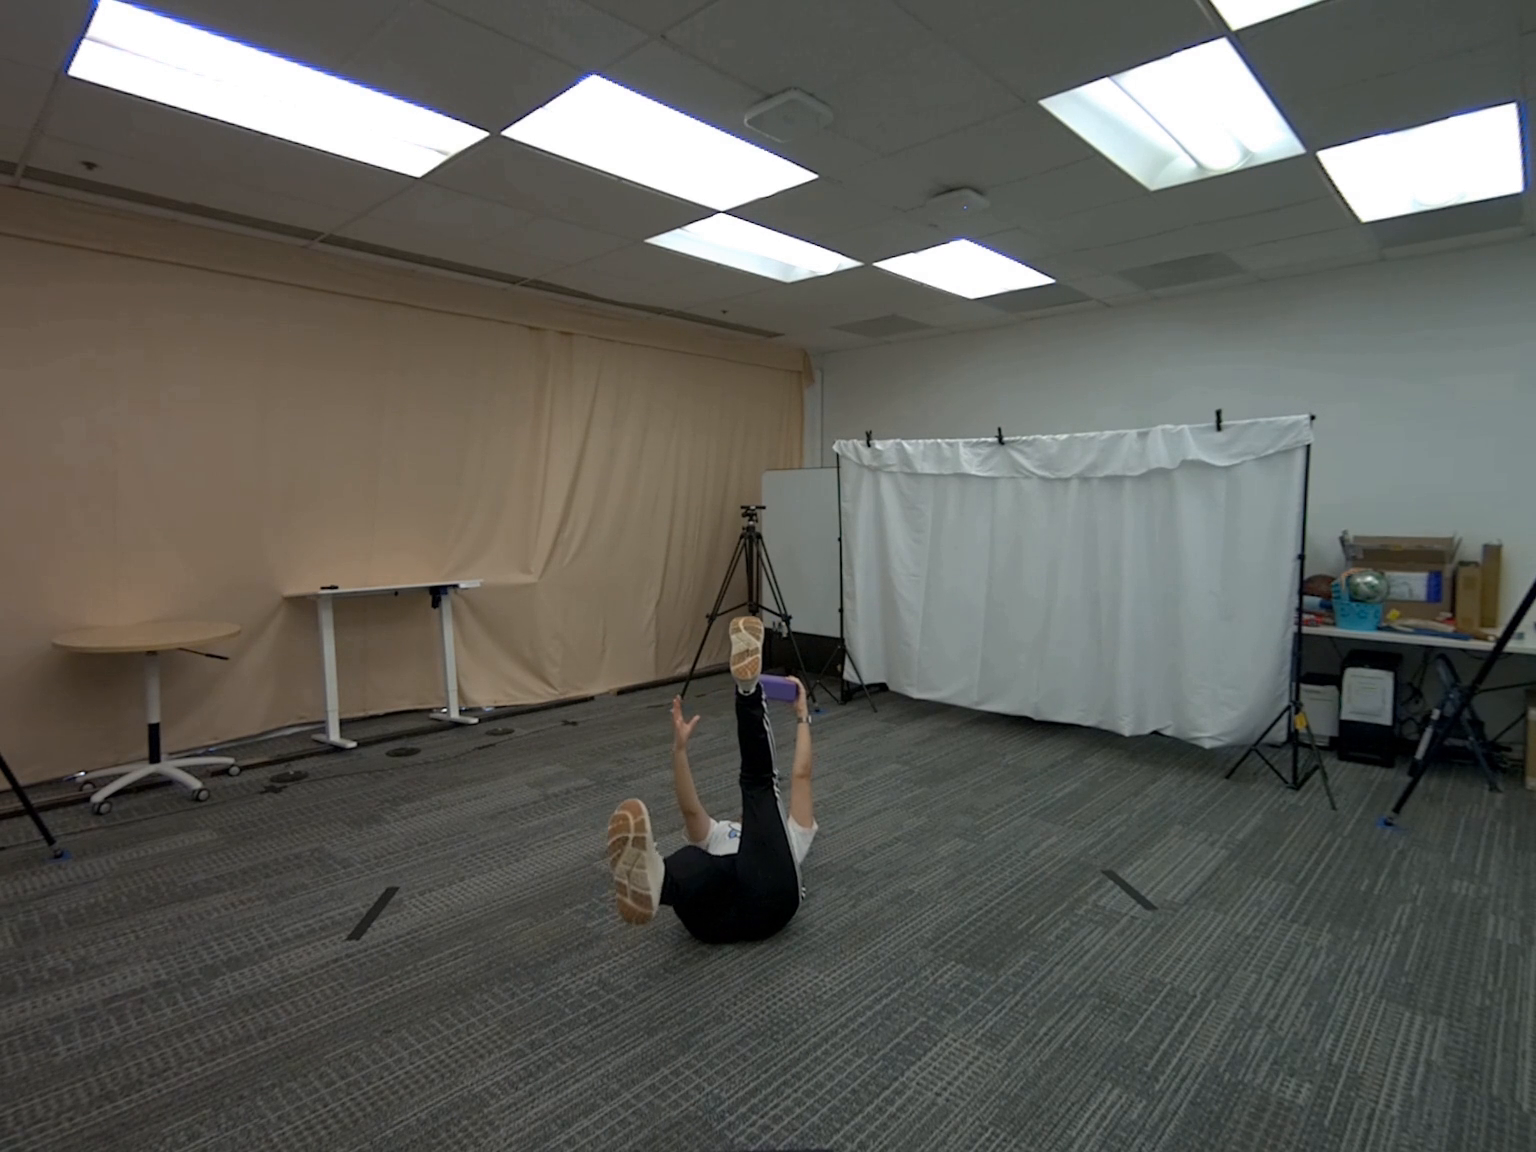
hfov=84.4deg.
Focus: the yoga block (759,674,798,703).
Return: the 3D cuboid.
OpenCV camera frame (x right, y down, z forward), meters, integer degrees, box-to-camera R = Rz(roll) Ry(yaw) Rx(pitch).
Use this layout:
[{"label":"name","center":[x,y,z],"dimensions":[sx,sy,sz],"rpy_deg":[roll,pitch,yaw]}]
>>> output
[{"label":"yoga block","center":[0.002,0.442,3.363],"dimensions":[0.230,0.076,0.148],"rpy_deg":[6,1,4]}]
